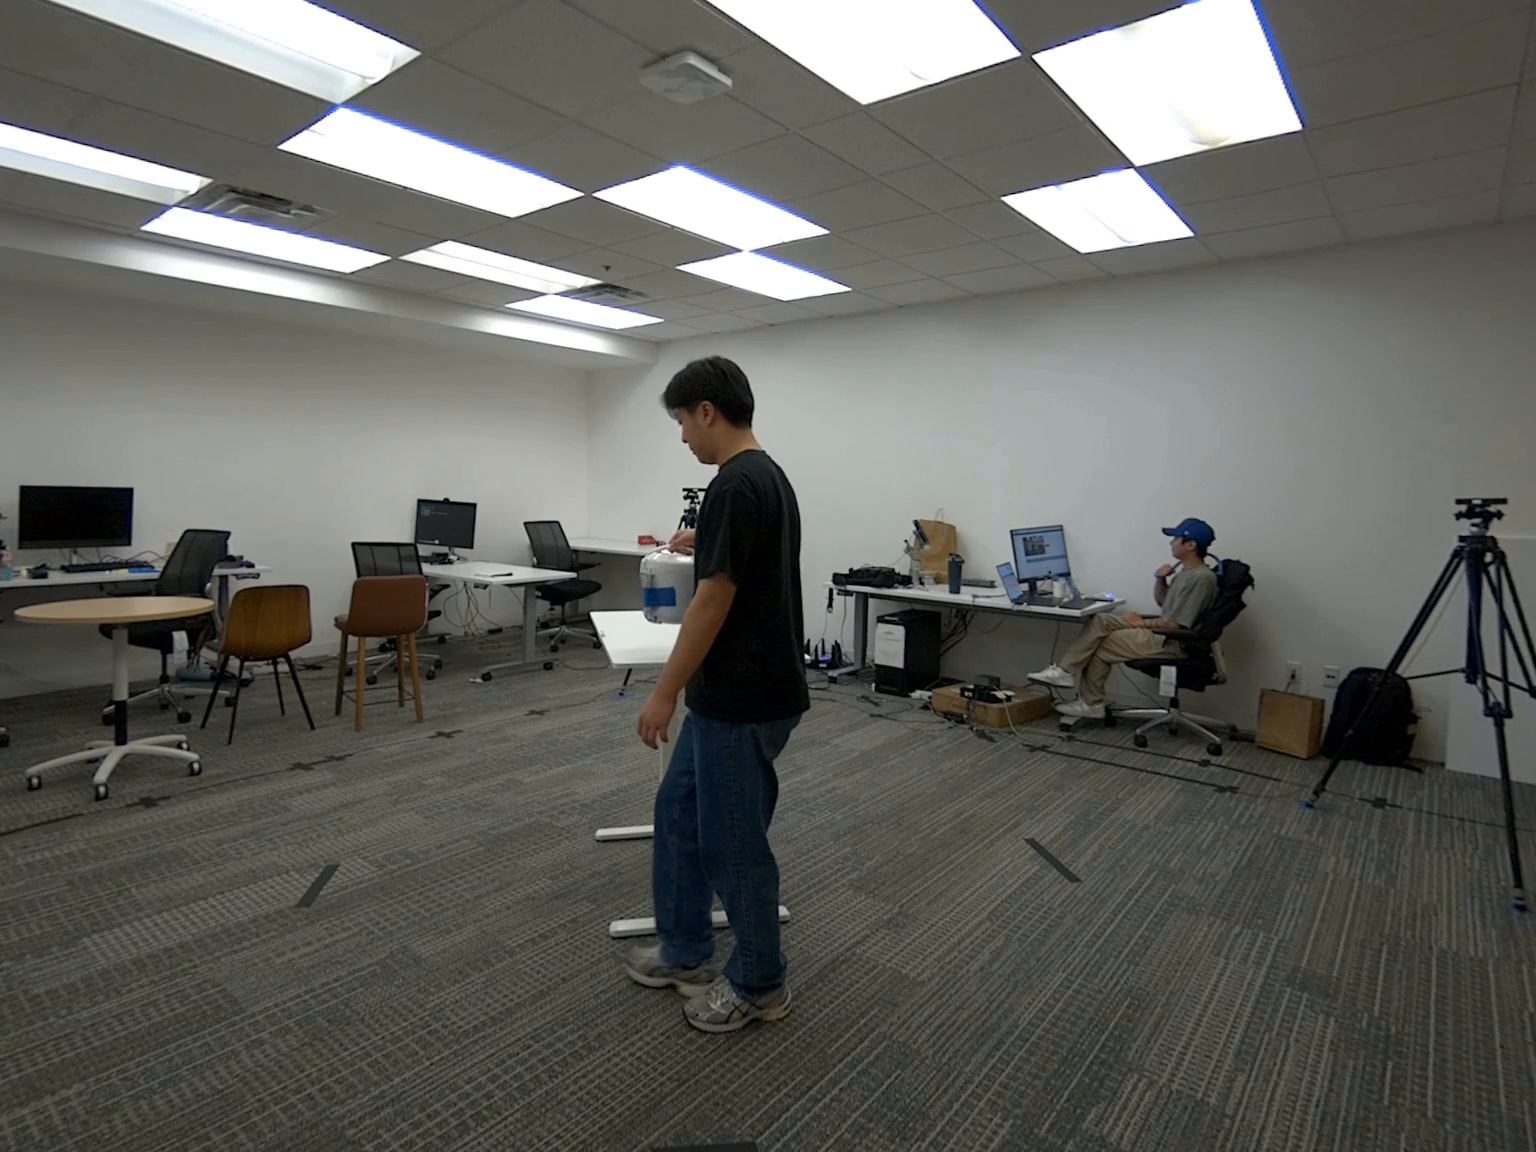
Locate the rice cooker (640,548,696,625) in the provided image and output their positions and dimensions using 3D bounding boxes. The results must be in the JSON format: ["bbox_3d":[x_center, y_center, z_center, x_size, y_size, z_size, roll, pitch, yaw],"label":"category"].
[{"bbox_3d":[-0.290,0.020,2.589,0.219,0.231,0.220,3,7,-6],"label":"rice cooker"}]
